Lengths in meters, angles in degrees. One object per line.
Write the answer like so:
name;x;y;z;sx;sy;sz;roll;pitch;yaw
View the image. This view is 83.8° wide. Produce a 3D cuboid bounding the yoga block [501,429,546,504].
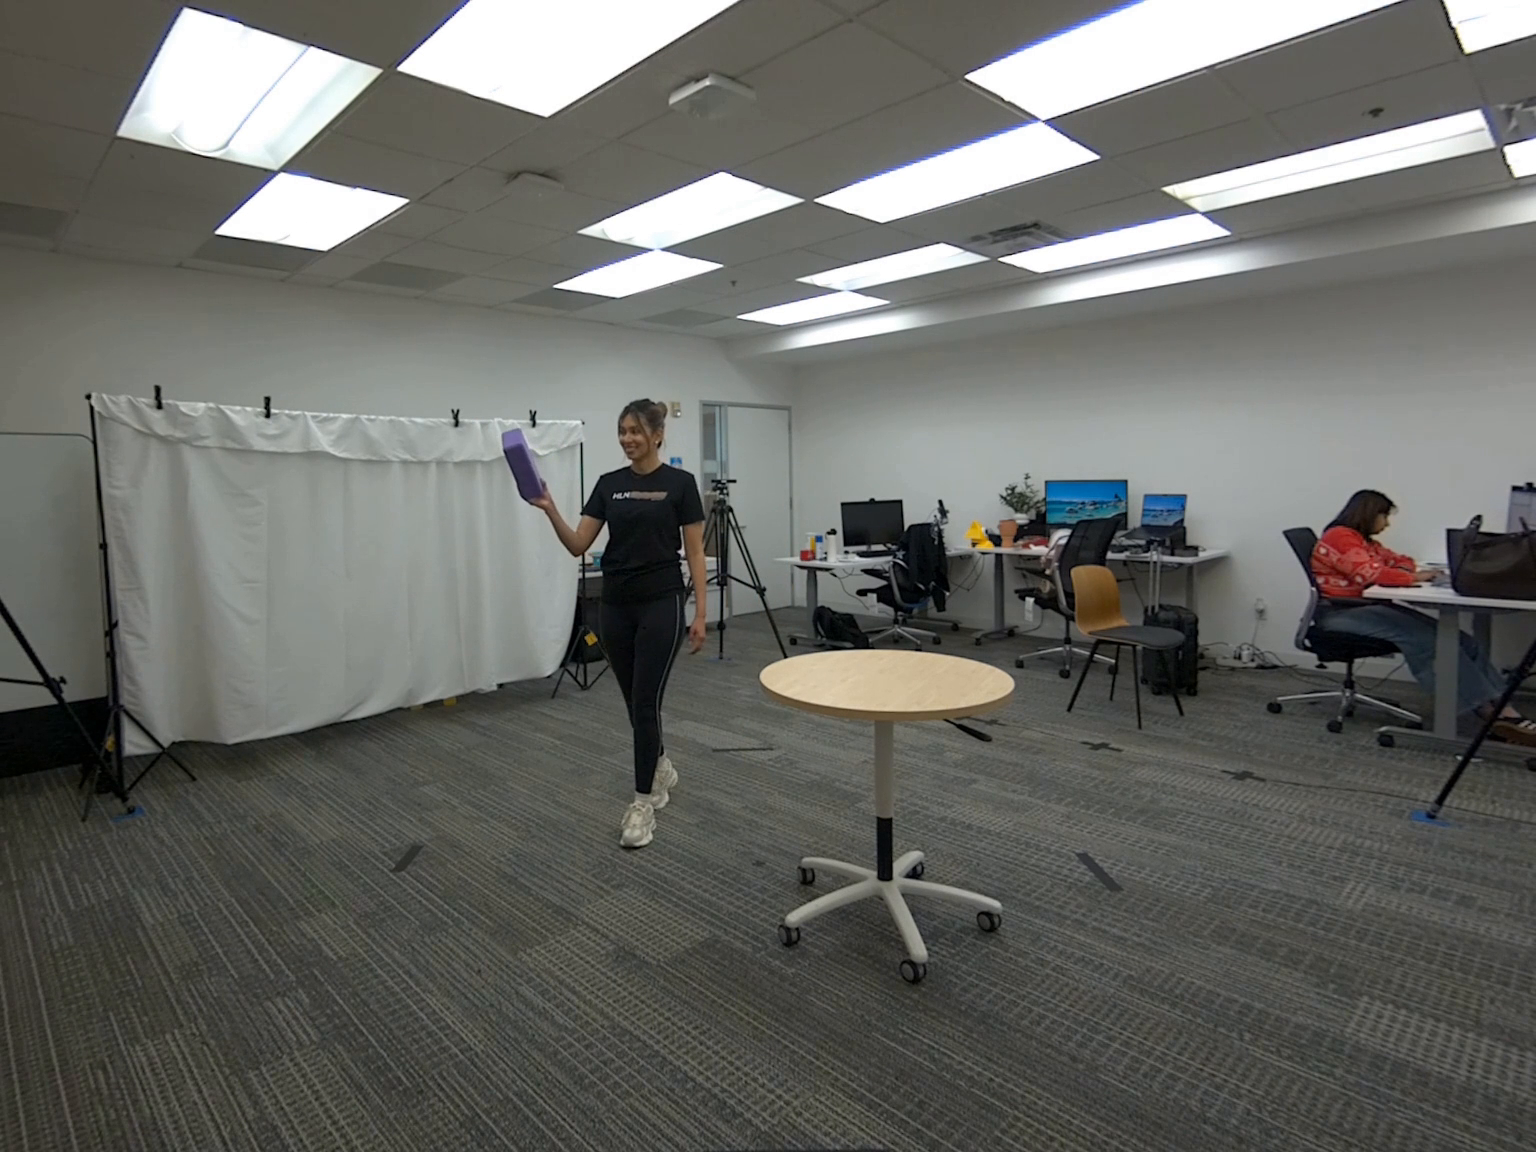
yoga block;-0.910;-0.413;3.165;0.076;0.222;0.154;-19;36;-5
